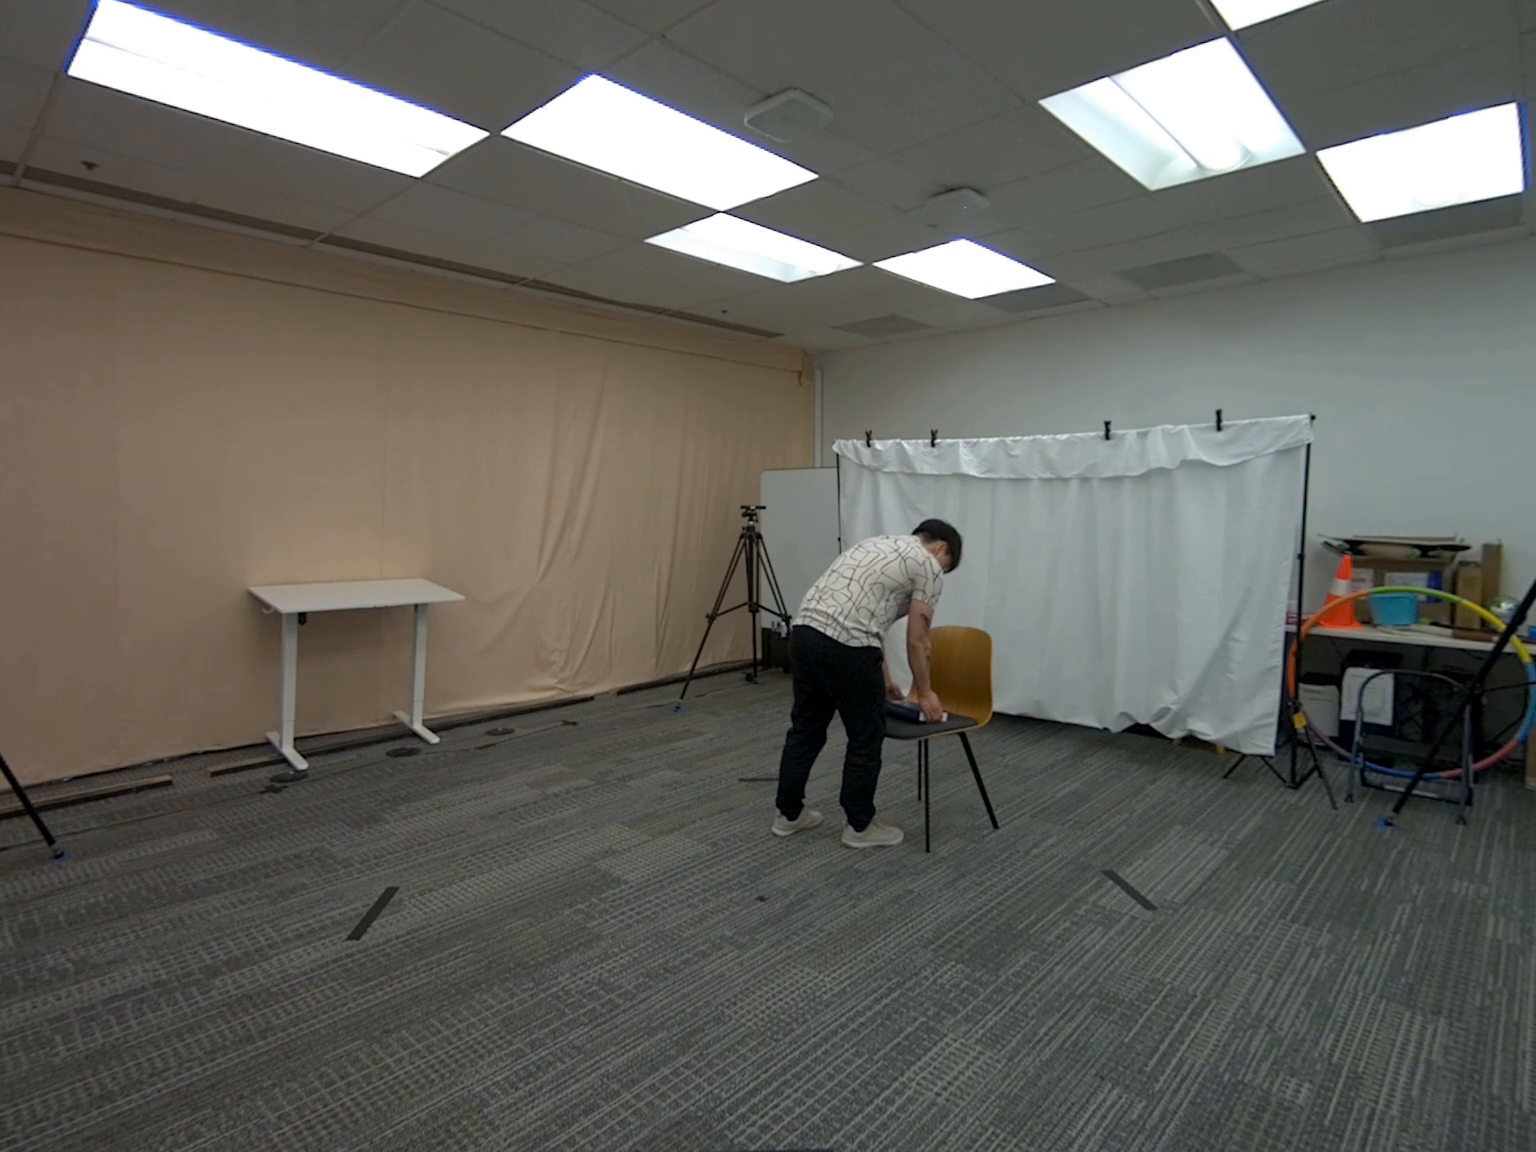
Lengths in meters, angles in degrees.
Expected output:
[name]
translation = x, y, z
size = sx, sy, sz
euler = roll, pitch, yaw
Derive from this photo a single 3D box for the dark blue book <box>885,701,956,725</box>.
[dark blue book]
translation = 0.643, 0.580, 3.605
size = 0.158, 0.045, 0.252
euler = 5, 1, -32
